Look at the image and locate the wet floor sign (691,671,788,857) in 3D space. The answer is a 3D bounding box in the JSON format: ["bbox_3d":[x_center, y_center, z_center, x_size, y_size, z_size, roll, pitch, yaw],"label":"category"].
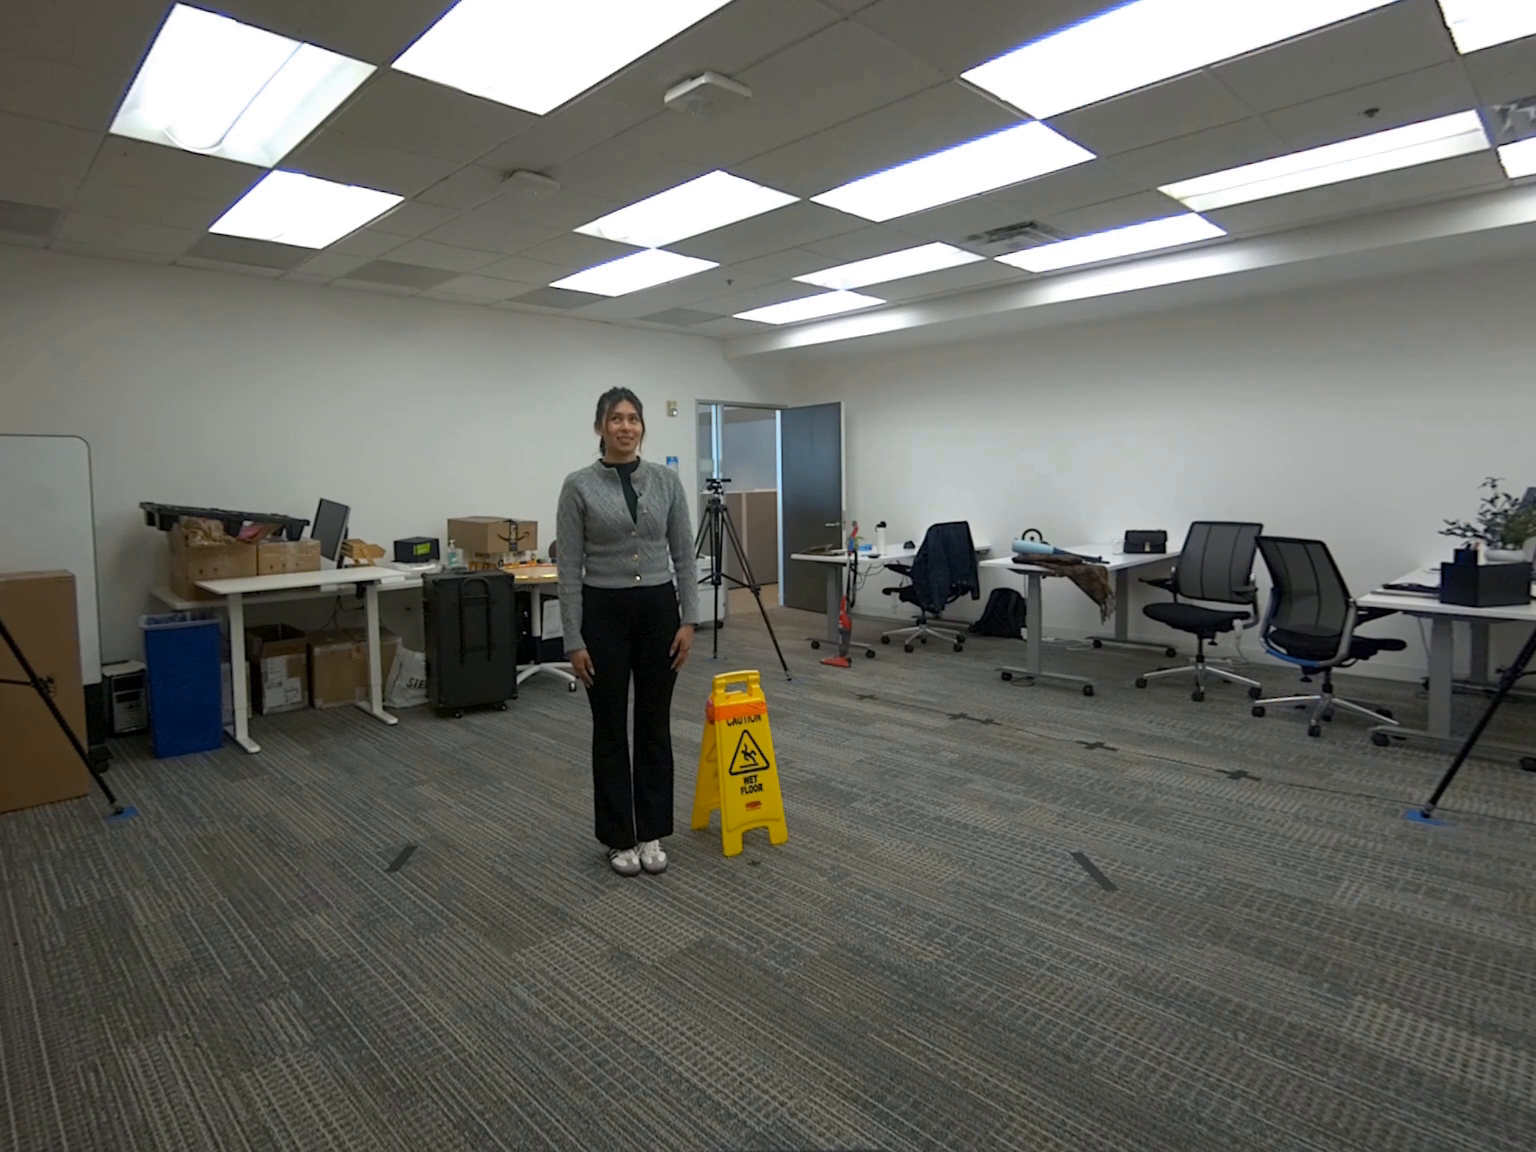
[{"bbox_3d":[-0.118,0.695,3.335,0.276,0.644,0.298,-3,5,-30],"label":"wet floor sign"}]
